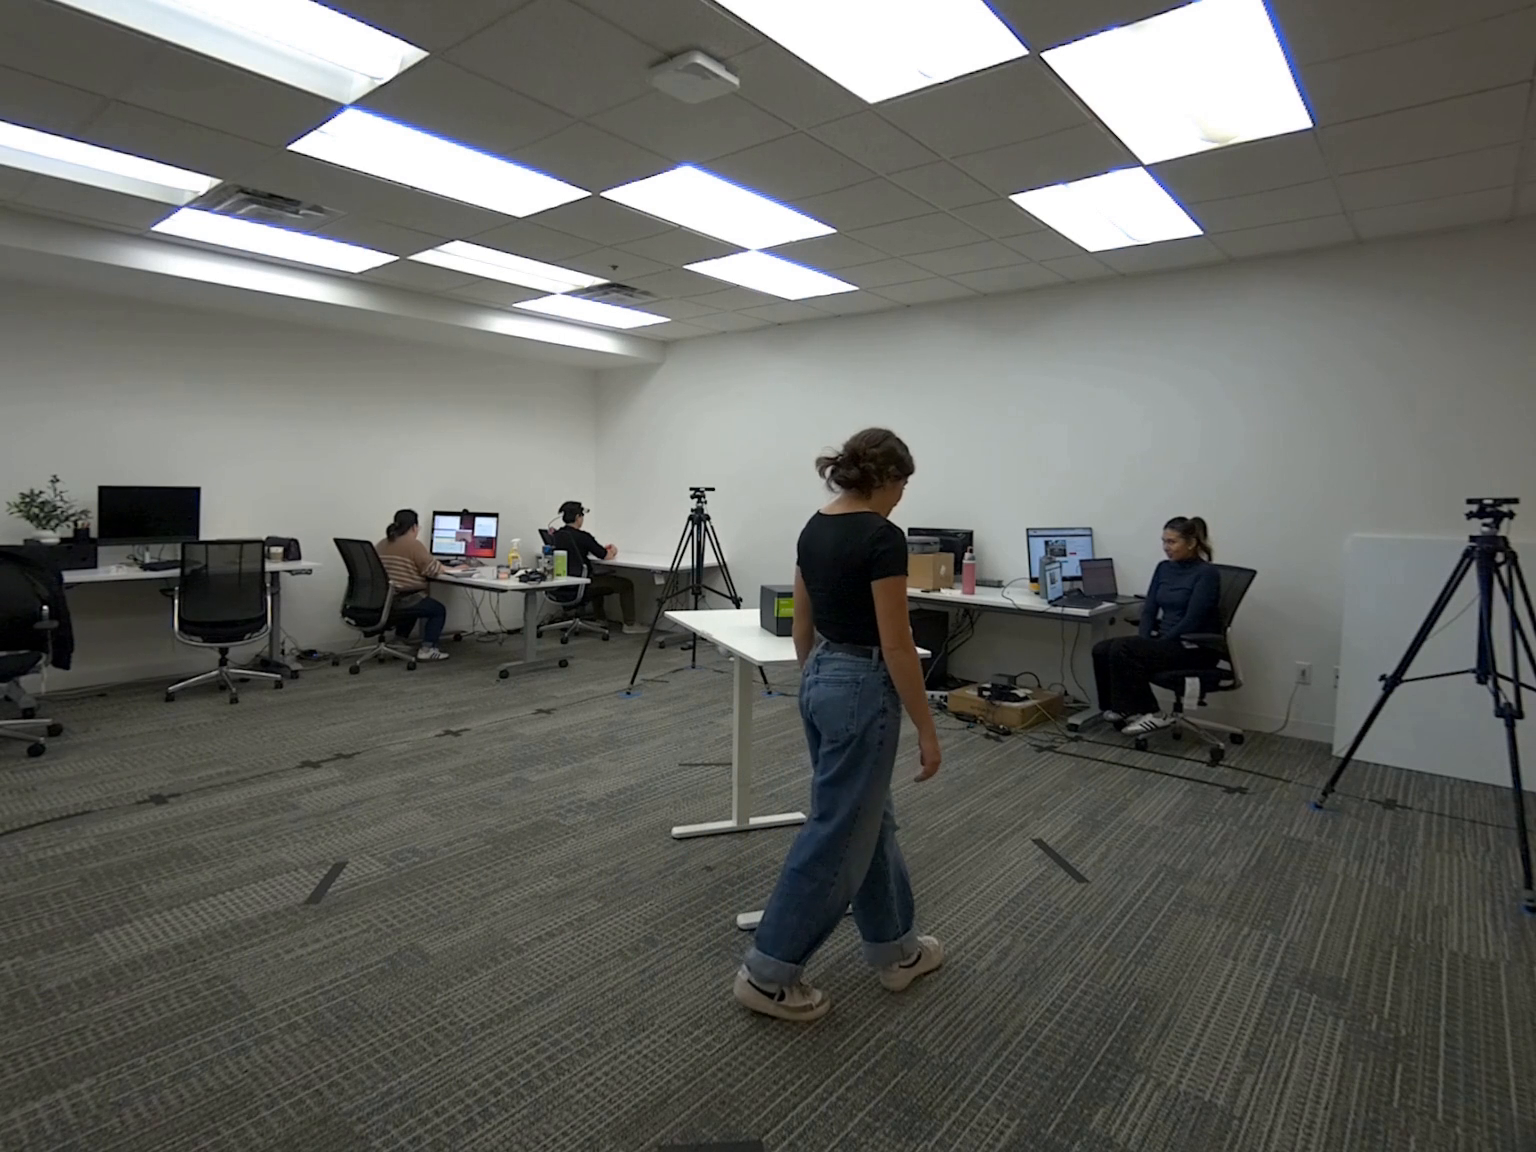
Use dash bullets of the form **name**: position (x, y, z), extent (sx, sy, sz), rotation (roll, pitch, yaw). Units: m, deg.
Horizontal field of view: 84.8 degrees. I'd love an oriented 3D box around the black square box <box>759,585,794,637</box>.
- **black square box**: position (0.101, 0.110, 3.050), extent (0.225, 0.155, 0.220), rotation (0, 4, -12)
